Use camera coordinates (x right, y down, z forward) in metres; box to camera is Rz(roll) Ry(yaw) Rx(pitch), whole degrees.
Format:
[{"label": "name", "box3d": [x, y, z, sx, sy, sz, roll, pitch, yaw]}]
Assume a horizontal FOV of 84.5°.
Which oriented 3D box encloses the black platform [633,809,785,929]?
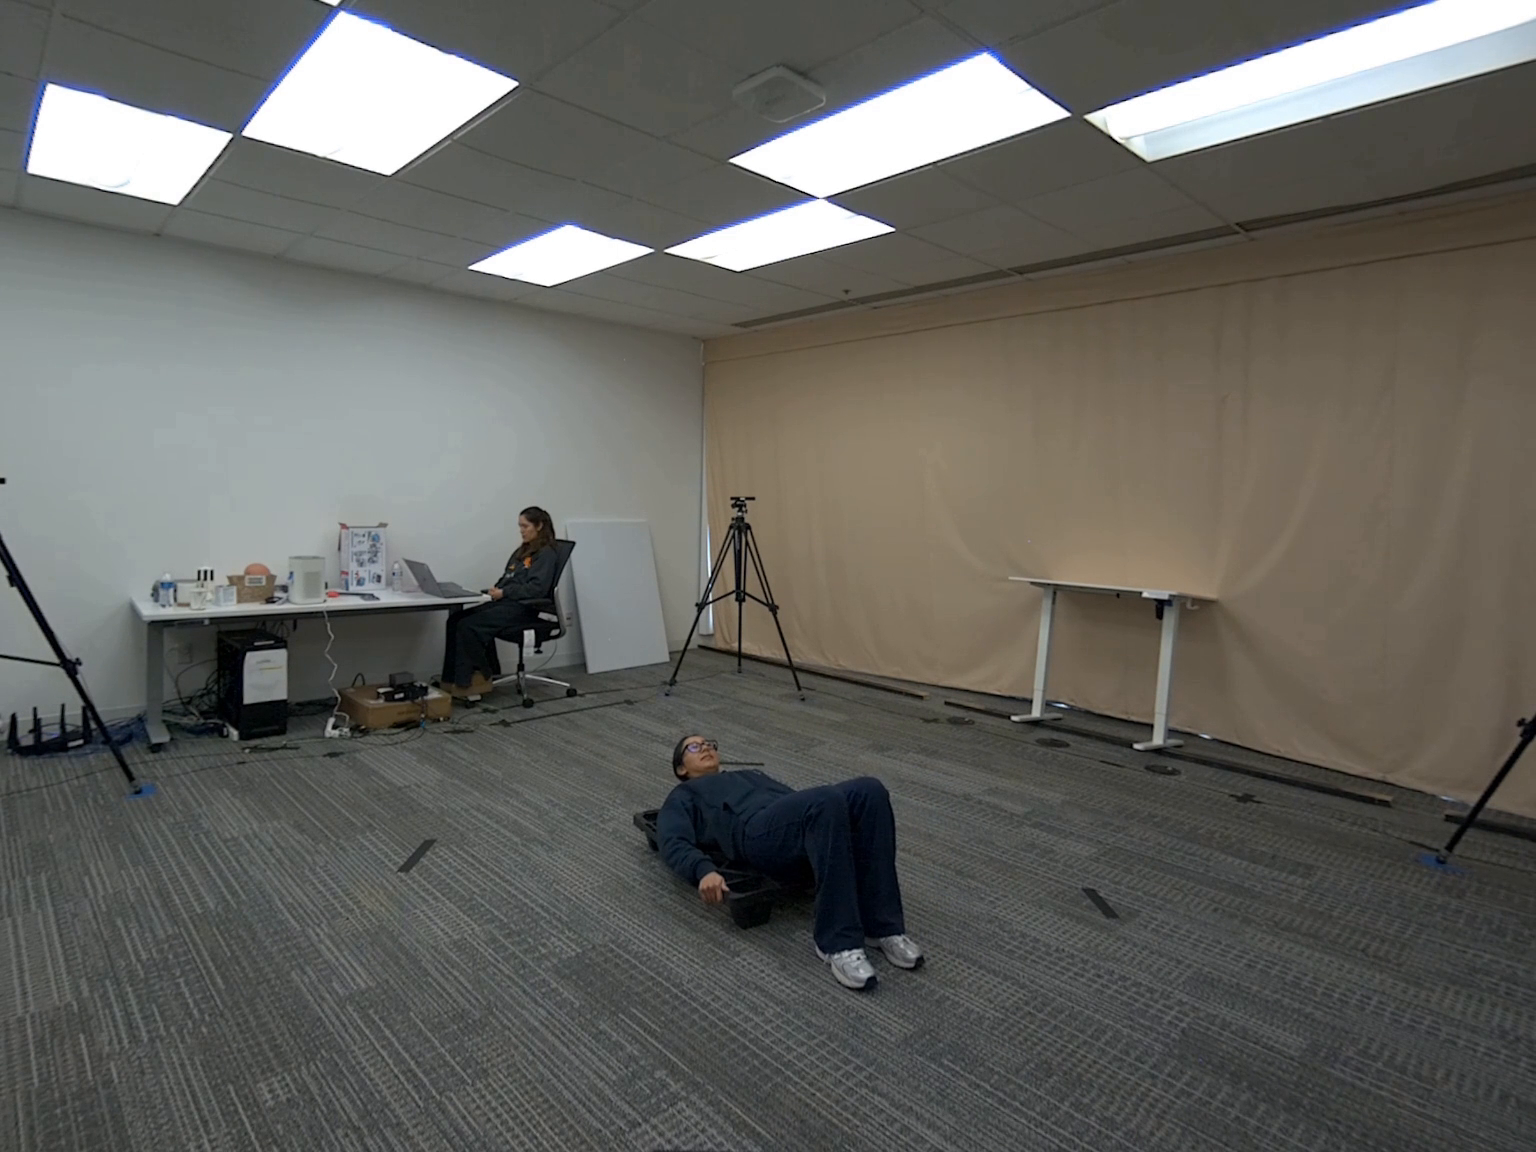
[{"label": "black platform", "box3d": [-0.079, 1.040, 3.155, 0.593, 0.143, 0.824, -3, 7, -31]}]
